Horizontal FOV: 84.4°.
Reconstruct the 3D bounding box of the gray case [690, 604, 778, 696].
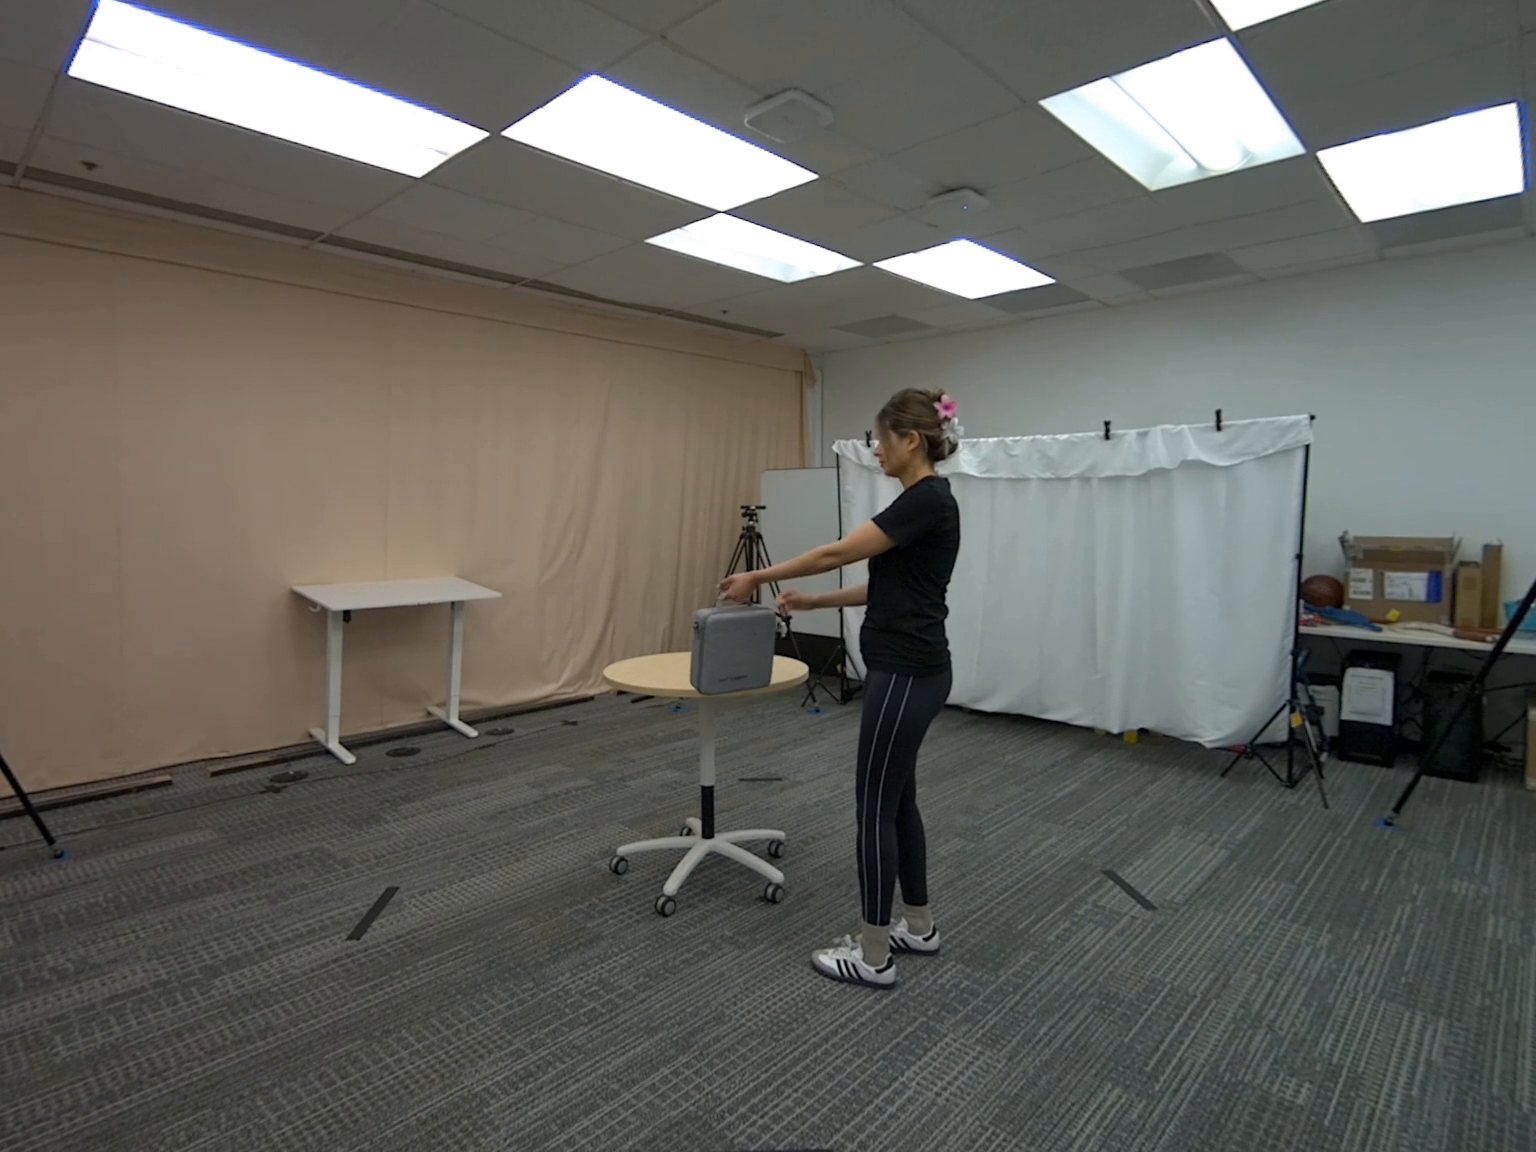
[{"bbox_3d":[-0.104,0.218,2.546,0.250,0.259,0.108,-2,12,-30],"label":"gray case"}]
